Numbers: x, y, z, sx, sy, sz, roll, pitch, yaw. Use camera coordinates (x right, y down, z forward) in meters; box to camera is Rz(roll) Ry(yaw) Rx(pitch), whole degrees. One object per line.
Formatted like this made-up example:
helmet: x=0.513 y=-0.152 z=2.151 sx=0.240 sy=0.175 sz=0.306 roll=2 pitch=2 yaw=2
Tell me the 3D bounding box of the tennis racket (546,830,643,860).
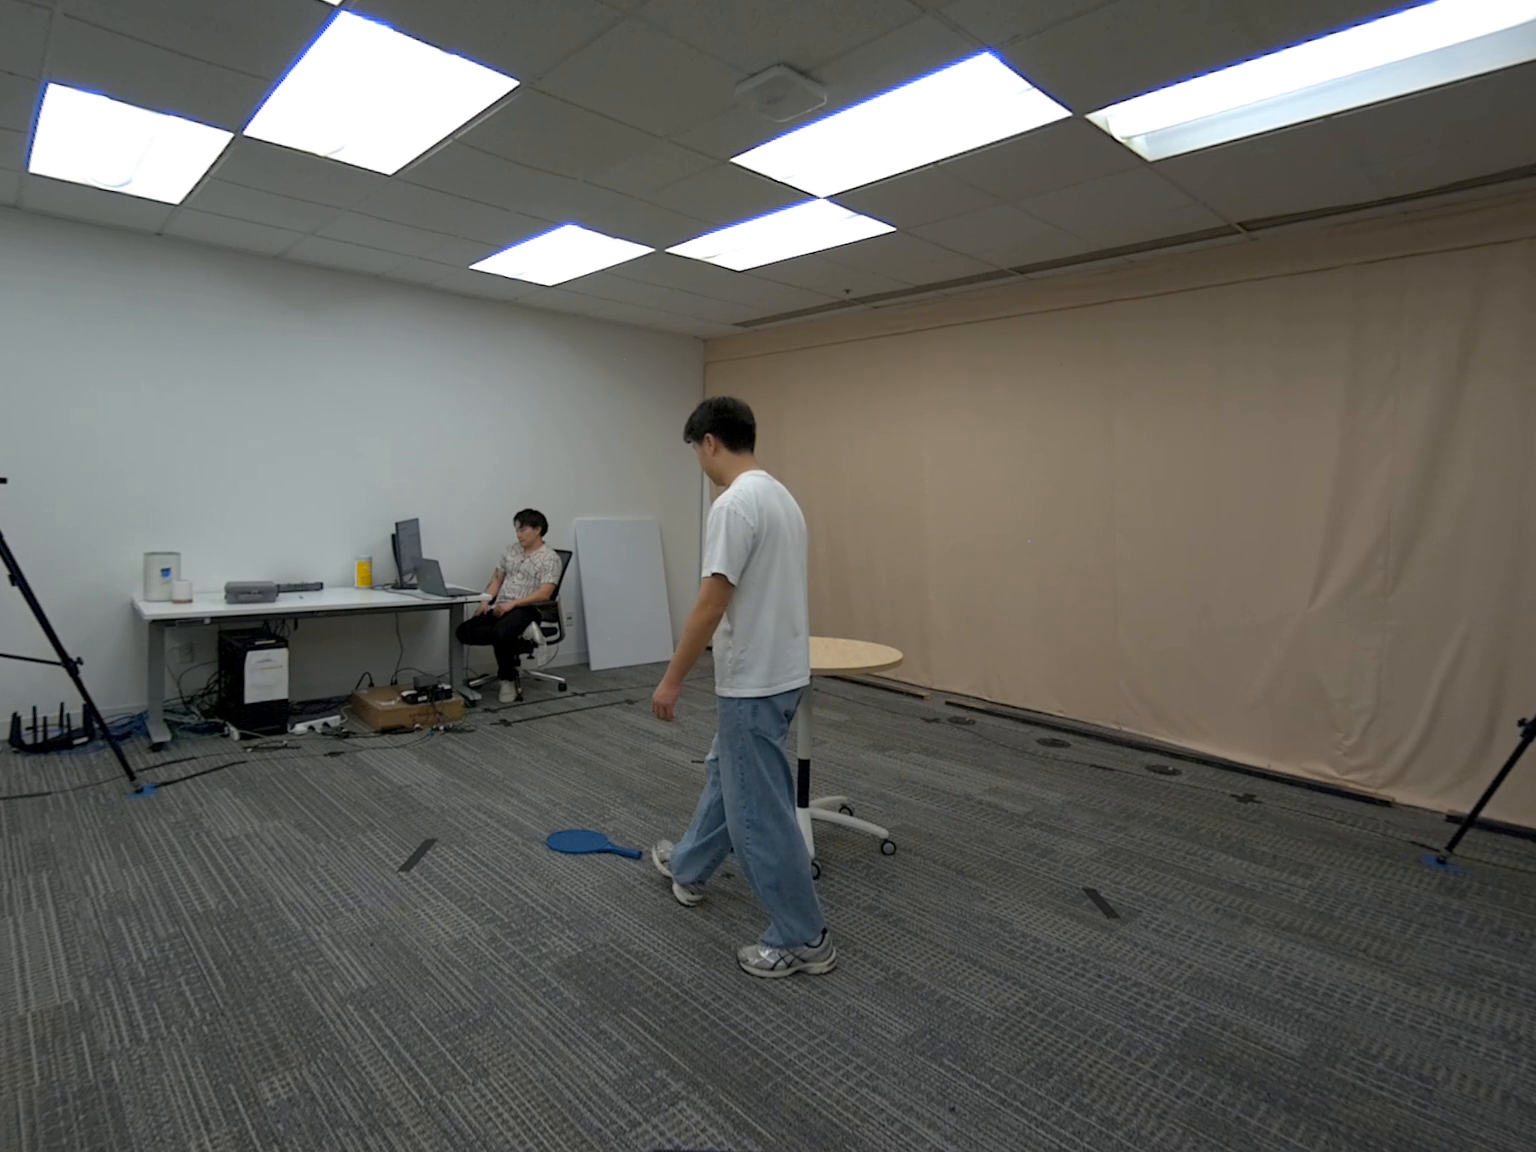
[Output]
tennis racket: x=-0.693 y=1.061 z=3.320 sx=0.442 sy=0.031 sz=0.210 roll=2 pitch=6 yaw=28
